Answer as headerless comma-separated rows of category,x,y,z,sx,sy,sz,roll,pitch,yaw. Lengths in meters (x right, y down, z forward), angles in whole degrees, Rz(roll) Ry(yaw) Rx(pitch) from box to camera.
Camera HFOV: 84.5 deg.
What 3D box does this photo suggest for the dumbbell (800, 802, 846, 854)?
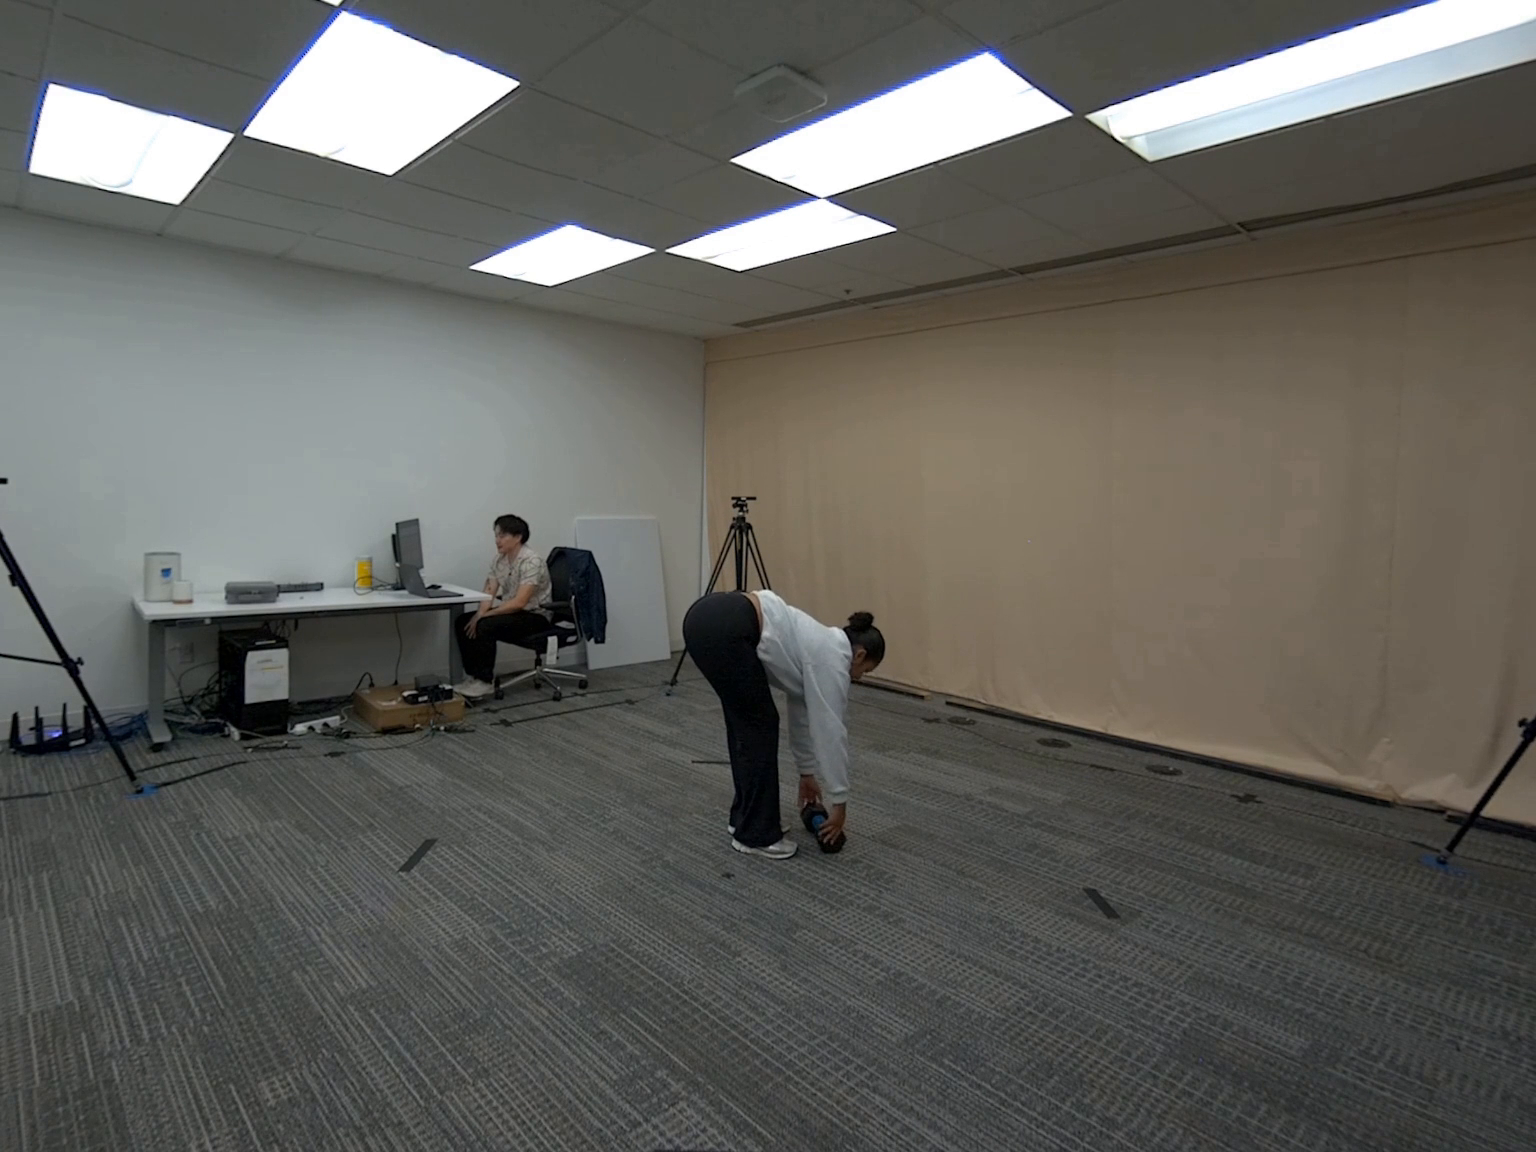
dumbbell,0.208,1.030,3.457,0.108,0.122,0.297,-28,10,-9
